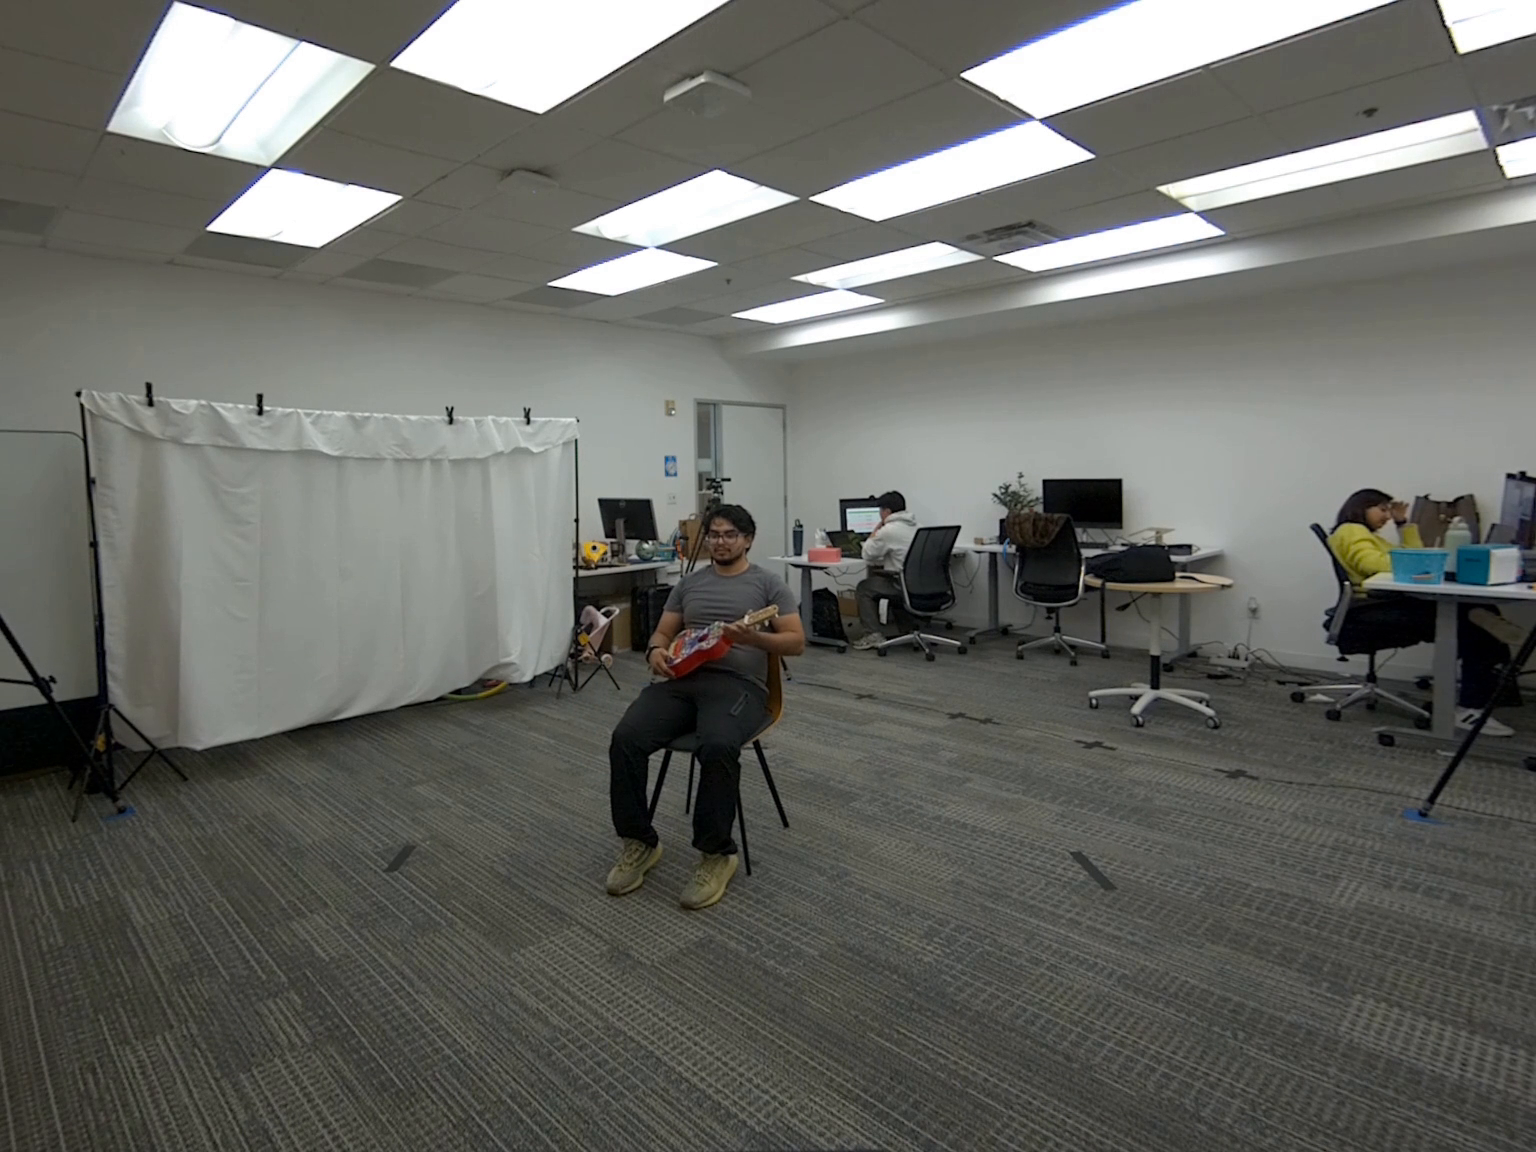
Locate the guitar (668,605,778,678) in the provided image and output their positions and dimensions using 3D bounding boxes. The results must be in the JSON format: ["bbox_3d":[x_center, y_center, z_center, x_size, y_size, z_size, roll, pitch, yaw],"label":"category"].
[{"bbox_3d":[-0.171,0.237,3.083,0.506,0.069,0.195,-18,31,36],"label":"guitar"}]
